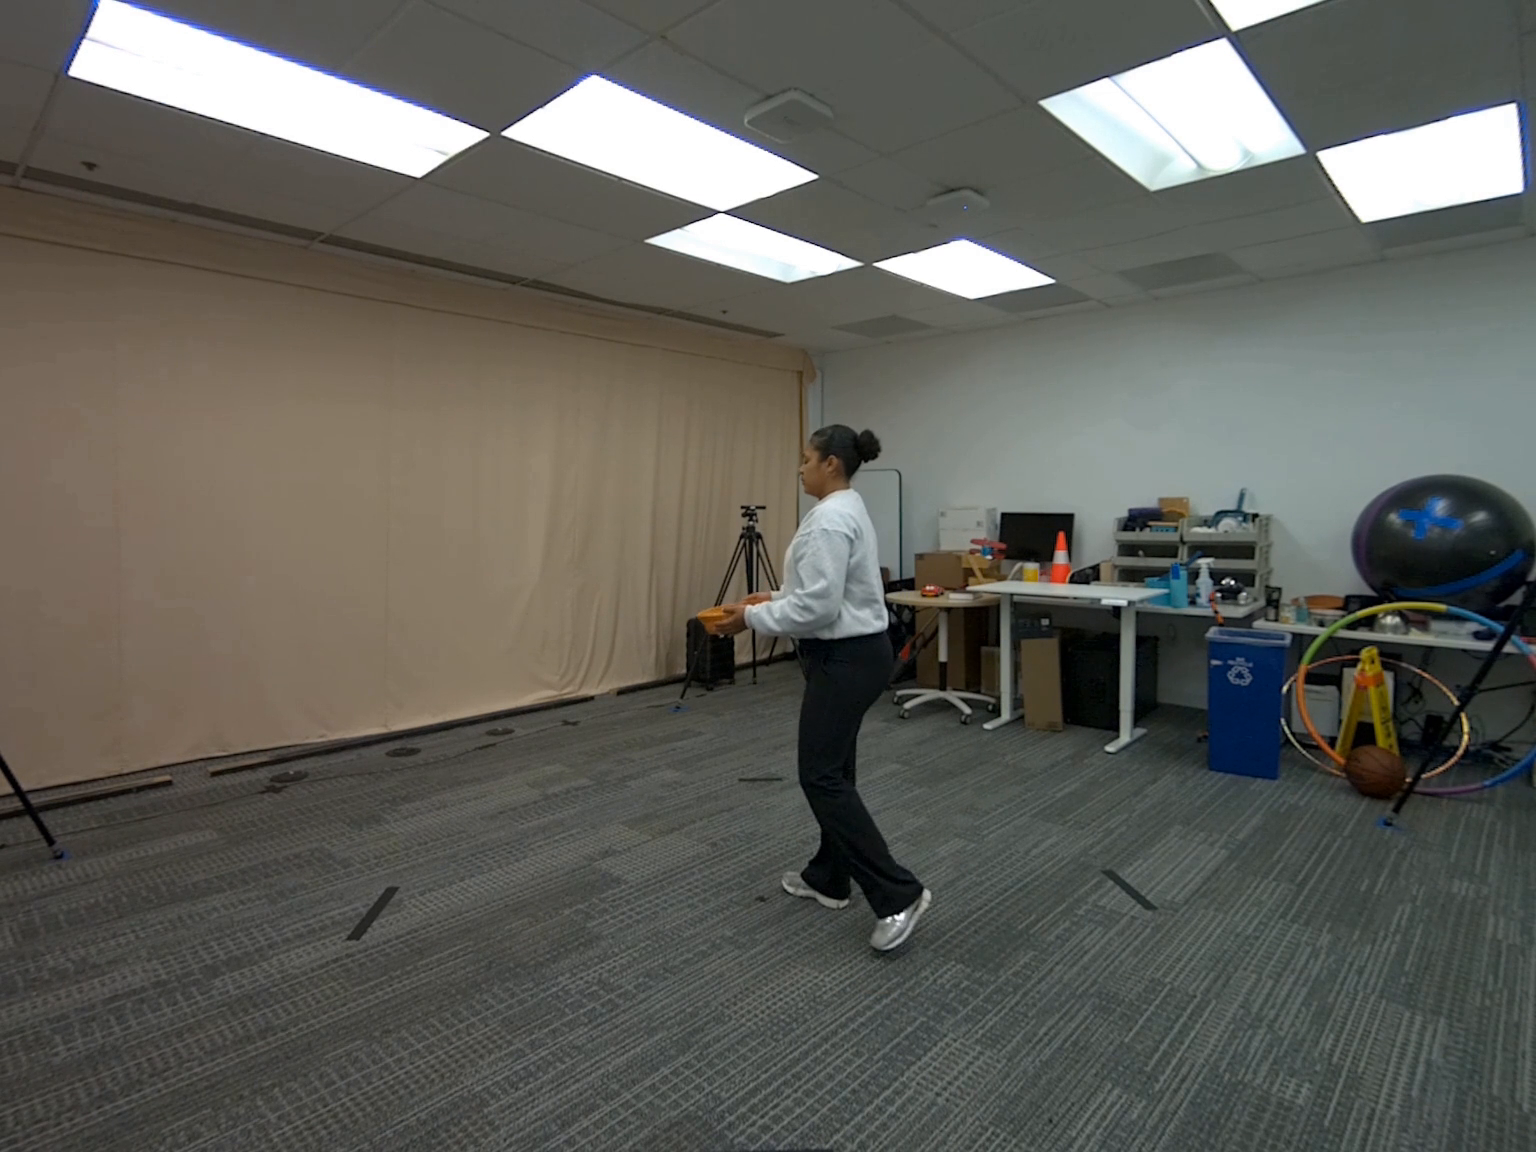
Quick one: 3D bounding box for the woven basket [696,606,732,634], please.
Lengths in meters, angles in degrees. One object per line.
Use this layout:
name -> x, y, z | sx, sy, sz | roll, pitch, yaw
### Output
woven basket -> -0.075, 0.138, 2.969 | 0.258, 0.073, 0.343 | -9, 2, 26
